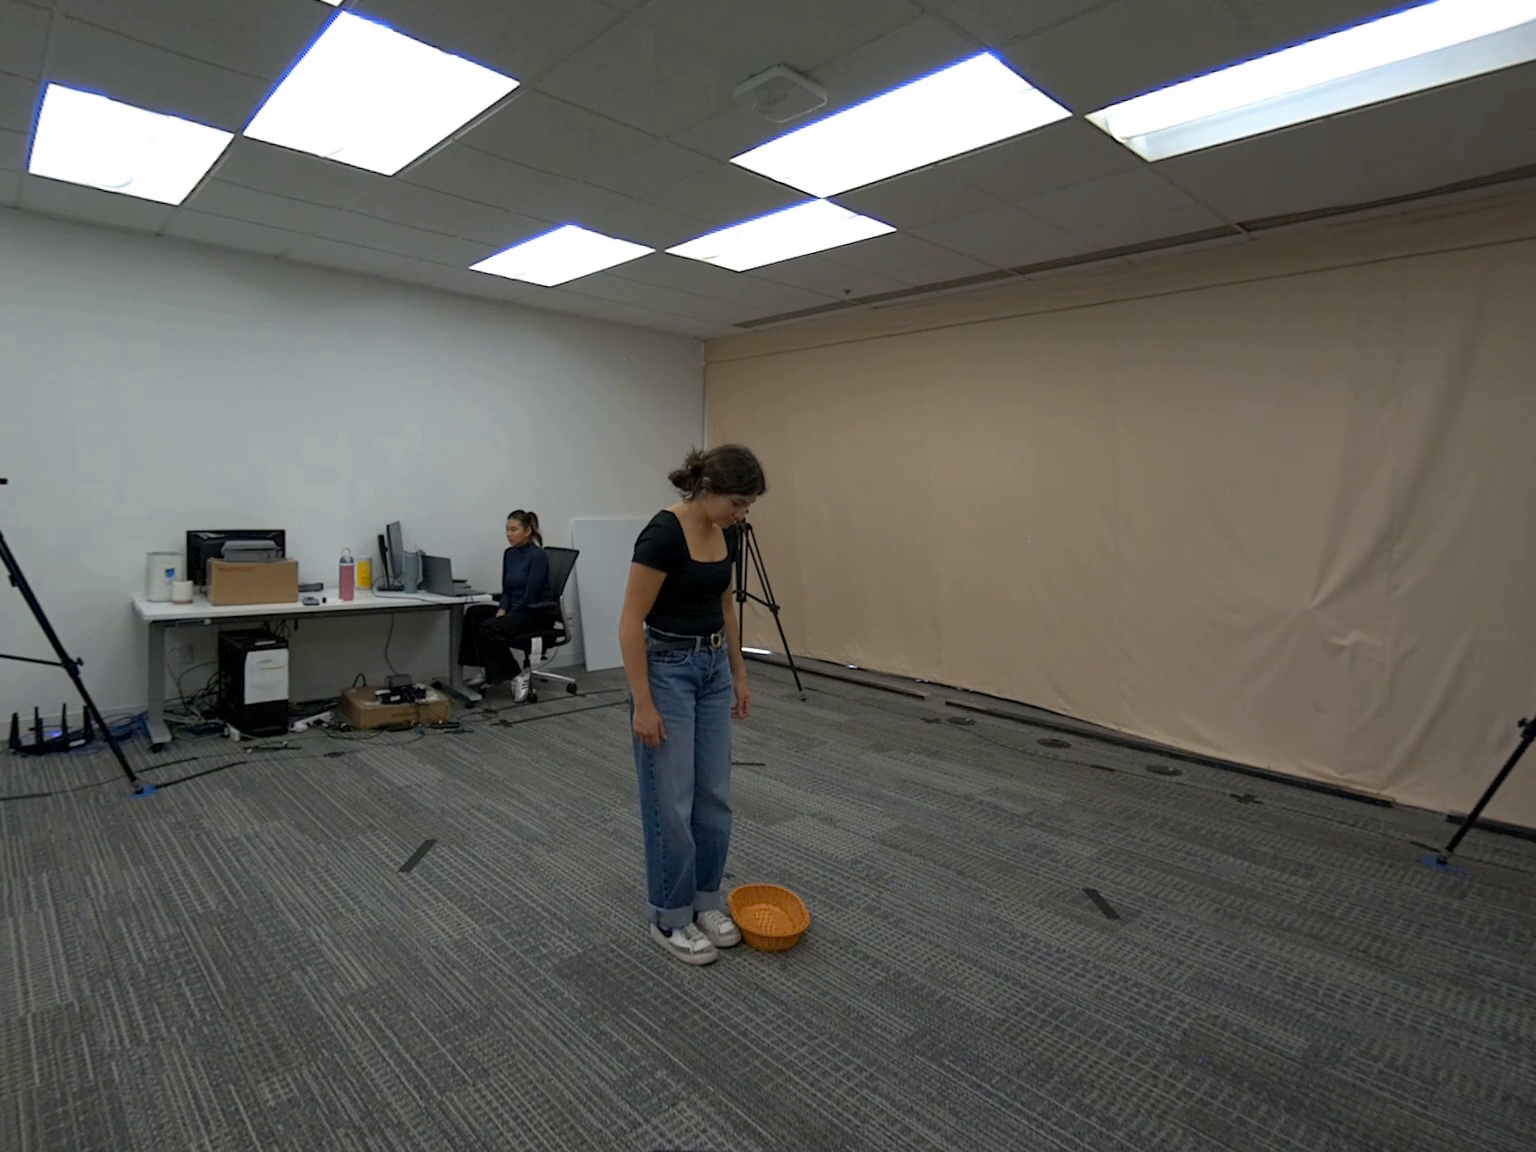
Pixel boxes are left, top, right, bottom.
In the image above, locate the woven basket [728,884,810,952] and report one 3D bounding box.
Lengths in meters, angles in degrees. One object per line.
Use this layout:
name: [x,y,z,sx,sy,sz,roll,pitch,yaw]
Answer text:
woven basket: [-0.006,1.108,2.725,0.250,0.073,0.354,2,5,-10]
